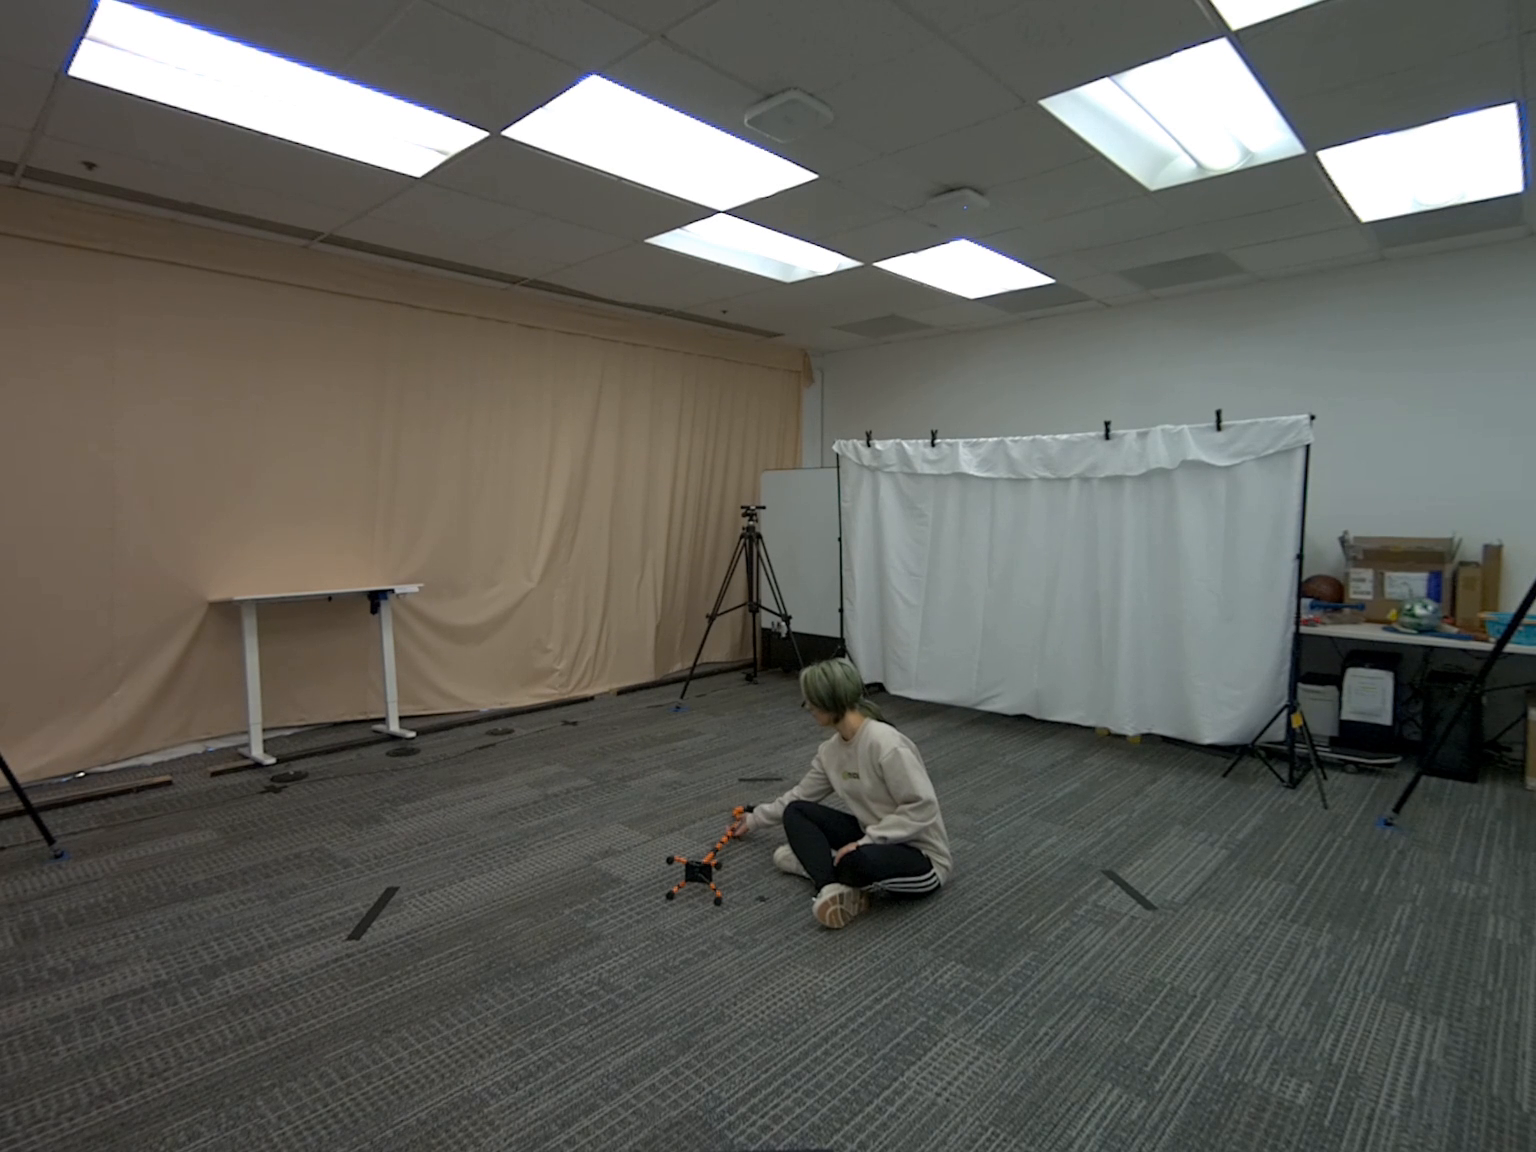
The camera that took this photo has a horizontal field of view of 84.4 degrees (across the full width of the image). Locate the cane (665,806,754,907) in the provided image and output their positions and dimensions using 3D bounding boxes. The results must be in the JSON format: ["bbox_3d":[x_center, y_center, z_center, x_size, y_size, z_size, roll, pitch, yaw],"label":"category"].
[{"bbox_3d":[-0.174,1.060,3.392,0.209,0.152,0.894,-1,0,12],"label":"cane"}]
